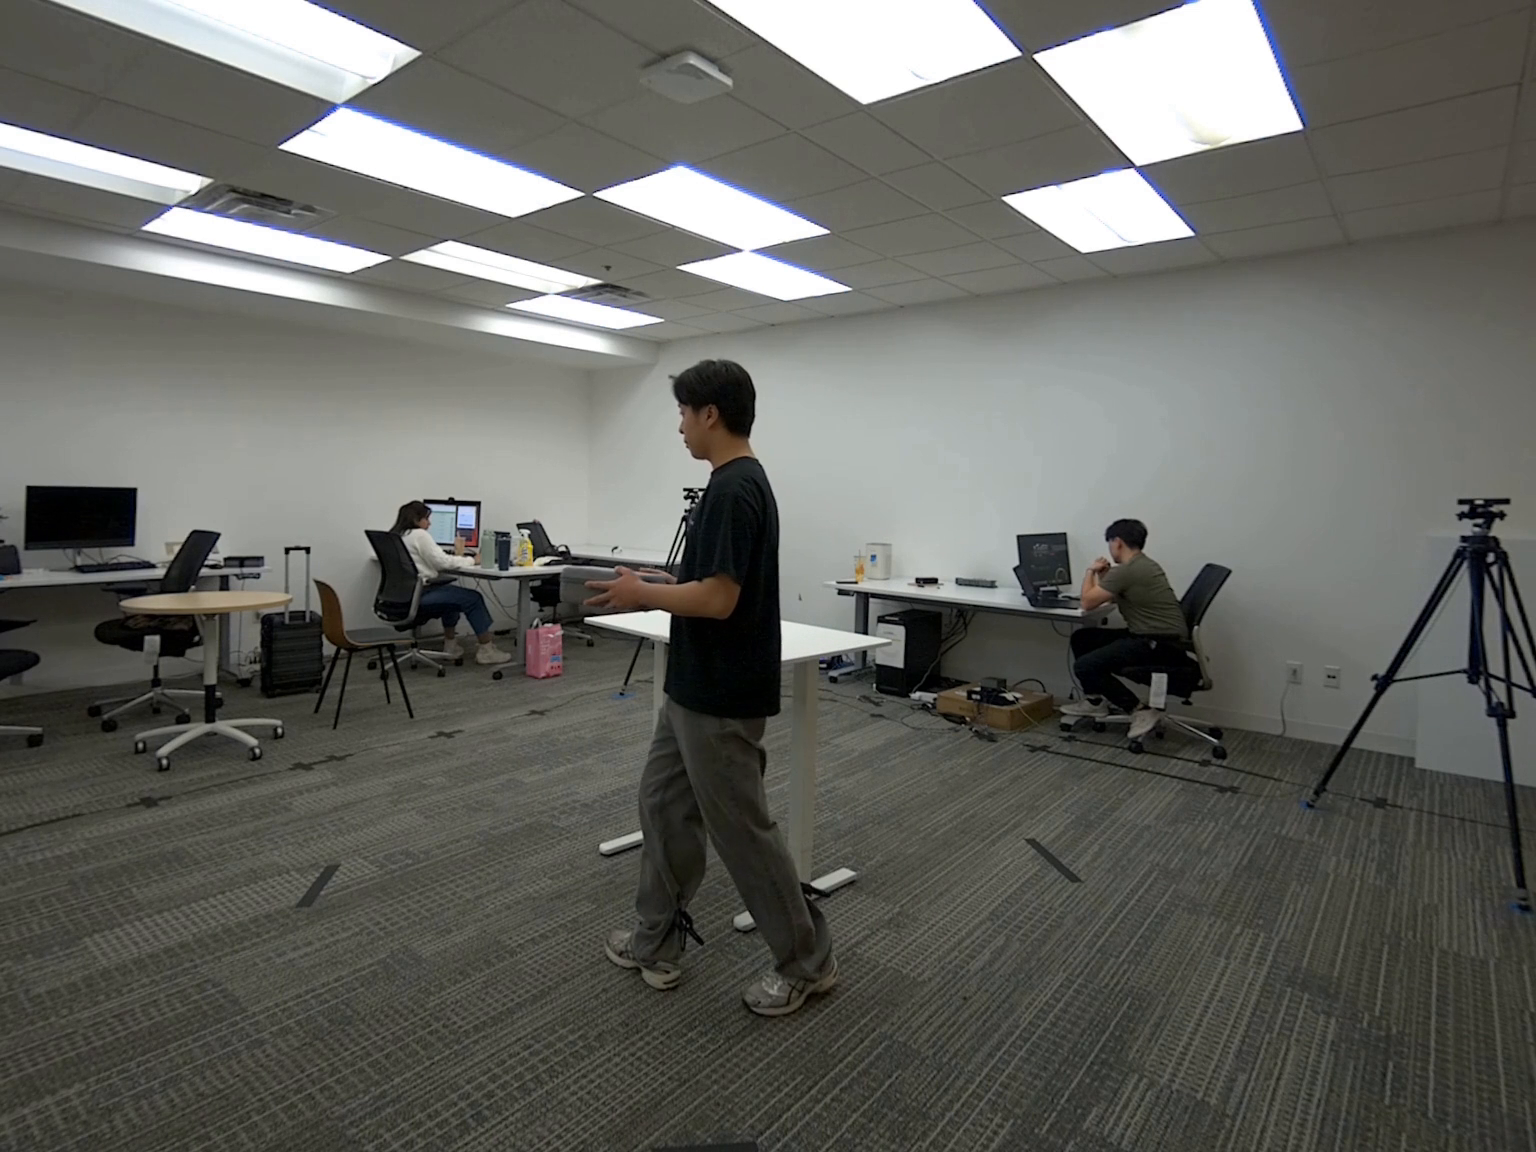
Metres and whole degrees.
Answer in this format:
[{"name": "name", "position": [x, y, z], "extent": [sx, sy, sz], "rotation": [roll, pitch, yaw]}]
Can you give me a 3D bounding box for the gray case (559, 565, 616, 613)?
[{"name": "gray case", "position": [-0.428, 0.031, 2.401], "extent": [0.287, 0.103, 0.263], "rotation": [5, 0, -2]}]
